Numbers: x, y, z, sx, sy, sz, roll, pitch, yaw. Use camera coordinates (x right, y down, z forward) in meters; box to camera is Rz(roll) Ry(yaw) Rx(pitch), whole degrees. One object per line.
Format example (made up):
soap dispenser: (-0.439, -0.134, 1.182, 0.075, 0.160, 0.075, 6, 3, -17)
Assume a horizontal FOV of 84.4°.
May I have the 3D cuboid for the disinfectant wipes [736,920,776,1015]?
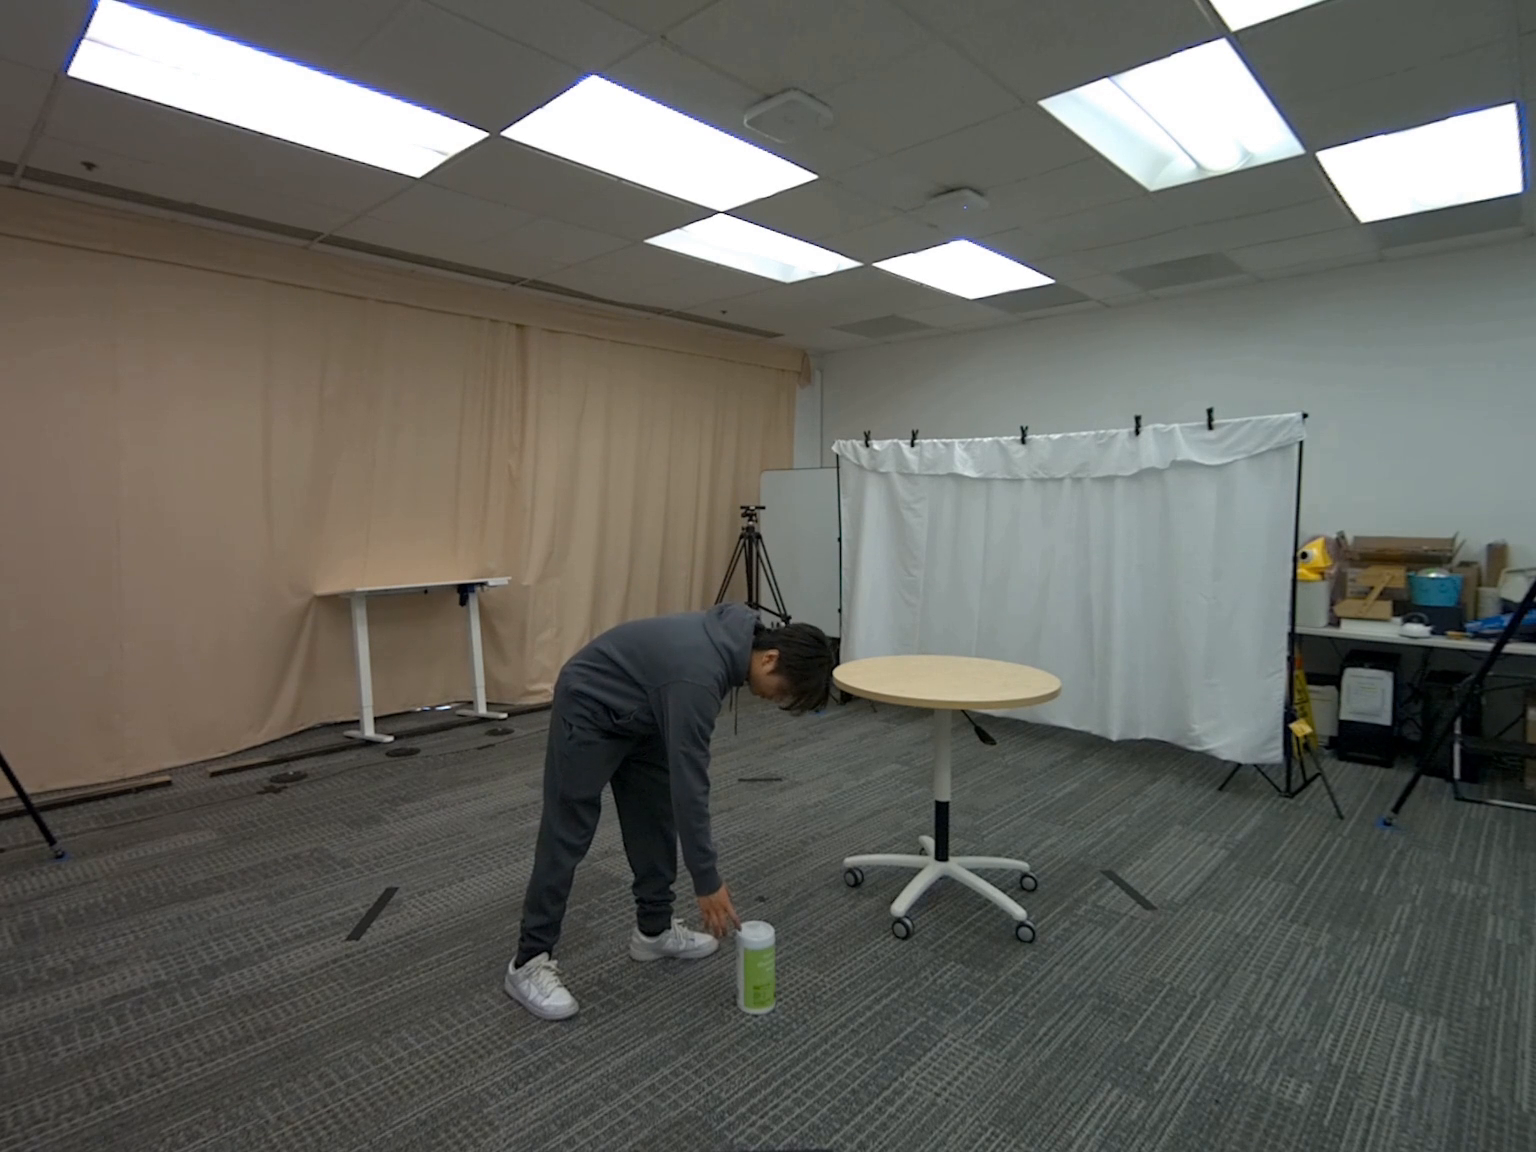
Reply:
disinfectant wipes: (-0.033, 1.095, 2.334, 0.118, 0.217, 0.118, 1, 4, -2)
